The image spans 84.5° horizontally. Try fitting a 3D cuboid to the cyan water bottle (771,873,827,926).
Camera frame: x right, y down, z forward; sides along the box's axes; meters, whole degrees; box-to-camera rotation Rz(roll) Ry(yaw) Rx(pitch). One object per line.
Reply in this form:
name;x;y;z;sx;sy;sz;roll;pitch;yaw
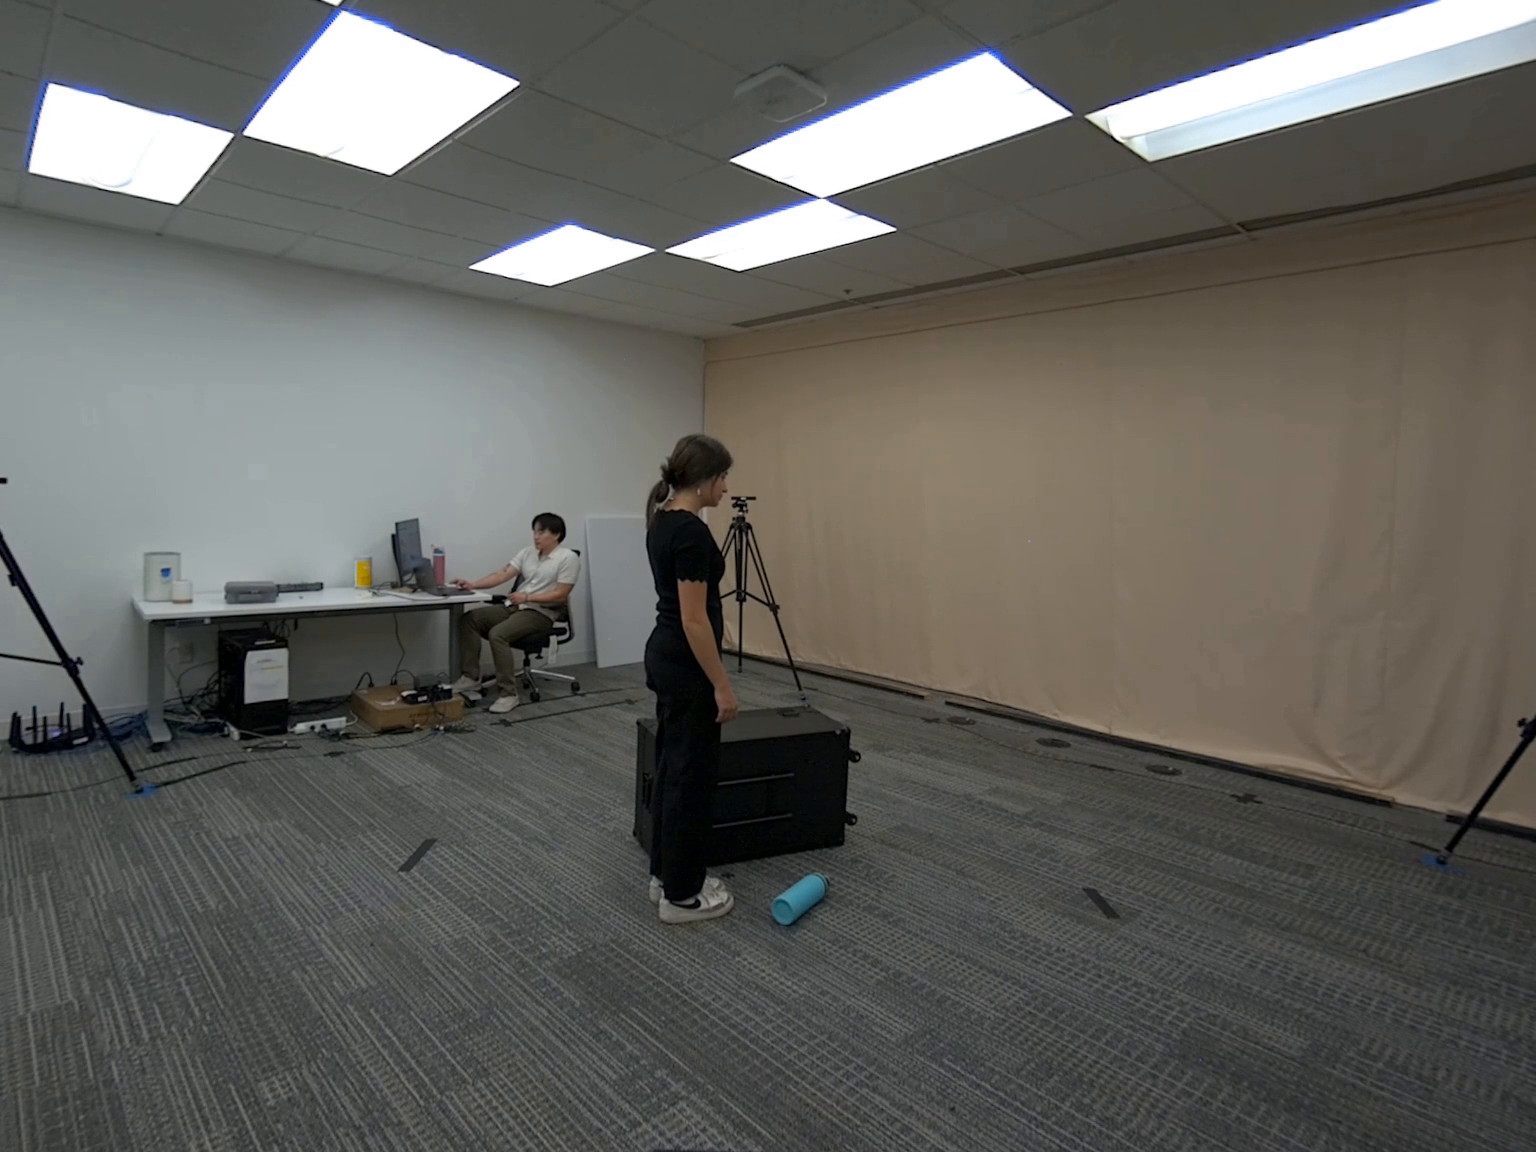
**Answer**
cyan water bottle;0.103;1.087;2.858;0.094;0.092;0.278;4;7;29
